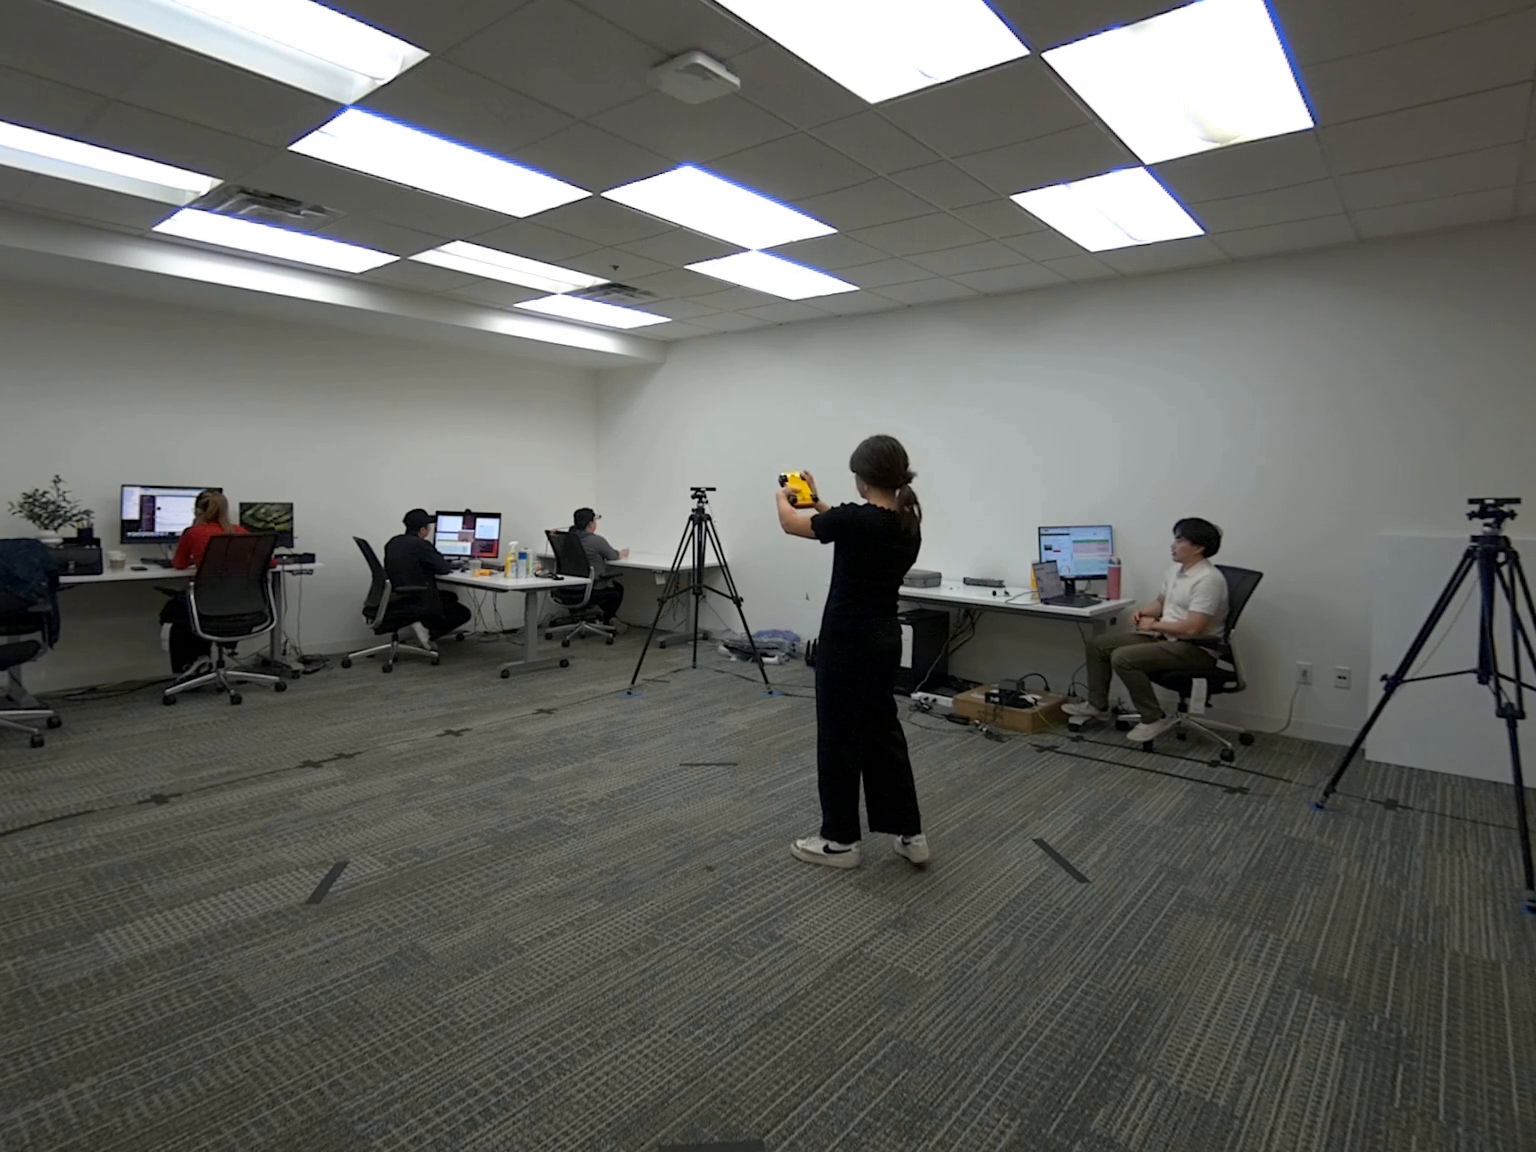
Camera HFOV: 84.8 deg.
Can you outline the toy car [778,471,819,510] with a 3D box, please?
[{"bbox_3d":[0.111,-0.369,3.532,0.128,0.081,0.264,-3,31,-16],"label":"toy car"}]
